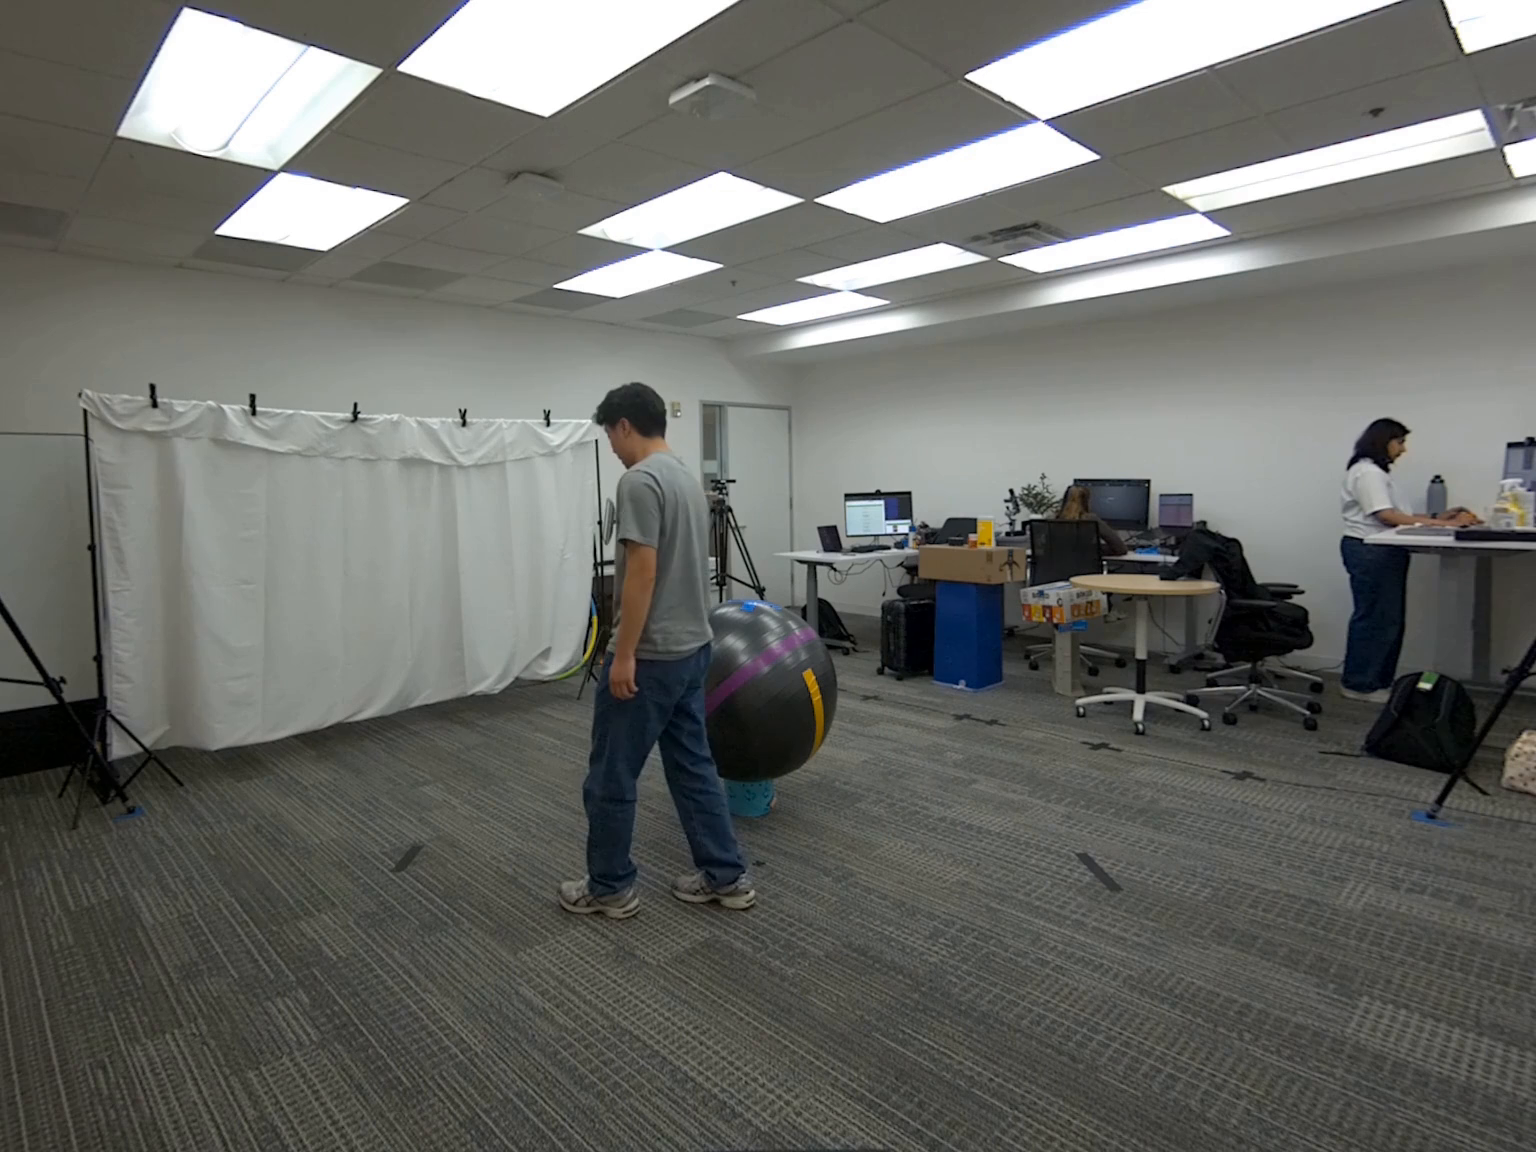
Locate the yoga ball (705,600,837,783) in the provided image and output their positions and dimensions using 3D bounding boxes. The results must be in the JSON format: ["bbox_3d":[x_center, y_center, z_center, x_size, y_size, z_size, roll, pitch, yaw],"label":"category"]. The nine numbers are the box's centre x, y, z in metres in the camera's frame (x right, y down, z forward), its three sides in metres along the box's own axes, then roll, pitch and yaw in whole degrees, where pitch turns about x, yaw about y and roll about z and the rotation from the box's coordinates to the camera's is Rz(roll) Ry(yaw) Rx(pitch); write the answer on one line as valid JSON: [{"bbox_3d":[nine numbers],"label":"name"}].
[{"bbox_3d":[-0.095,0.486,3.609,0.757,0.755,0.762,-1,5,-2],"label":"yoga ball"}]
